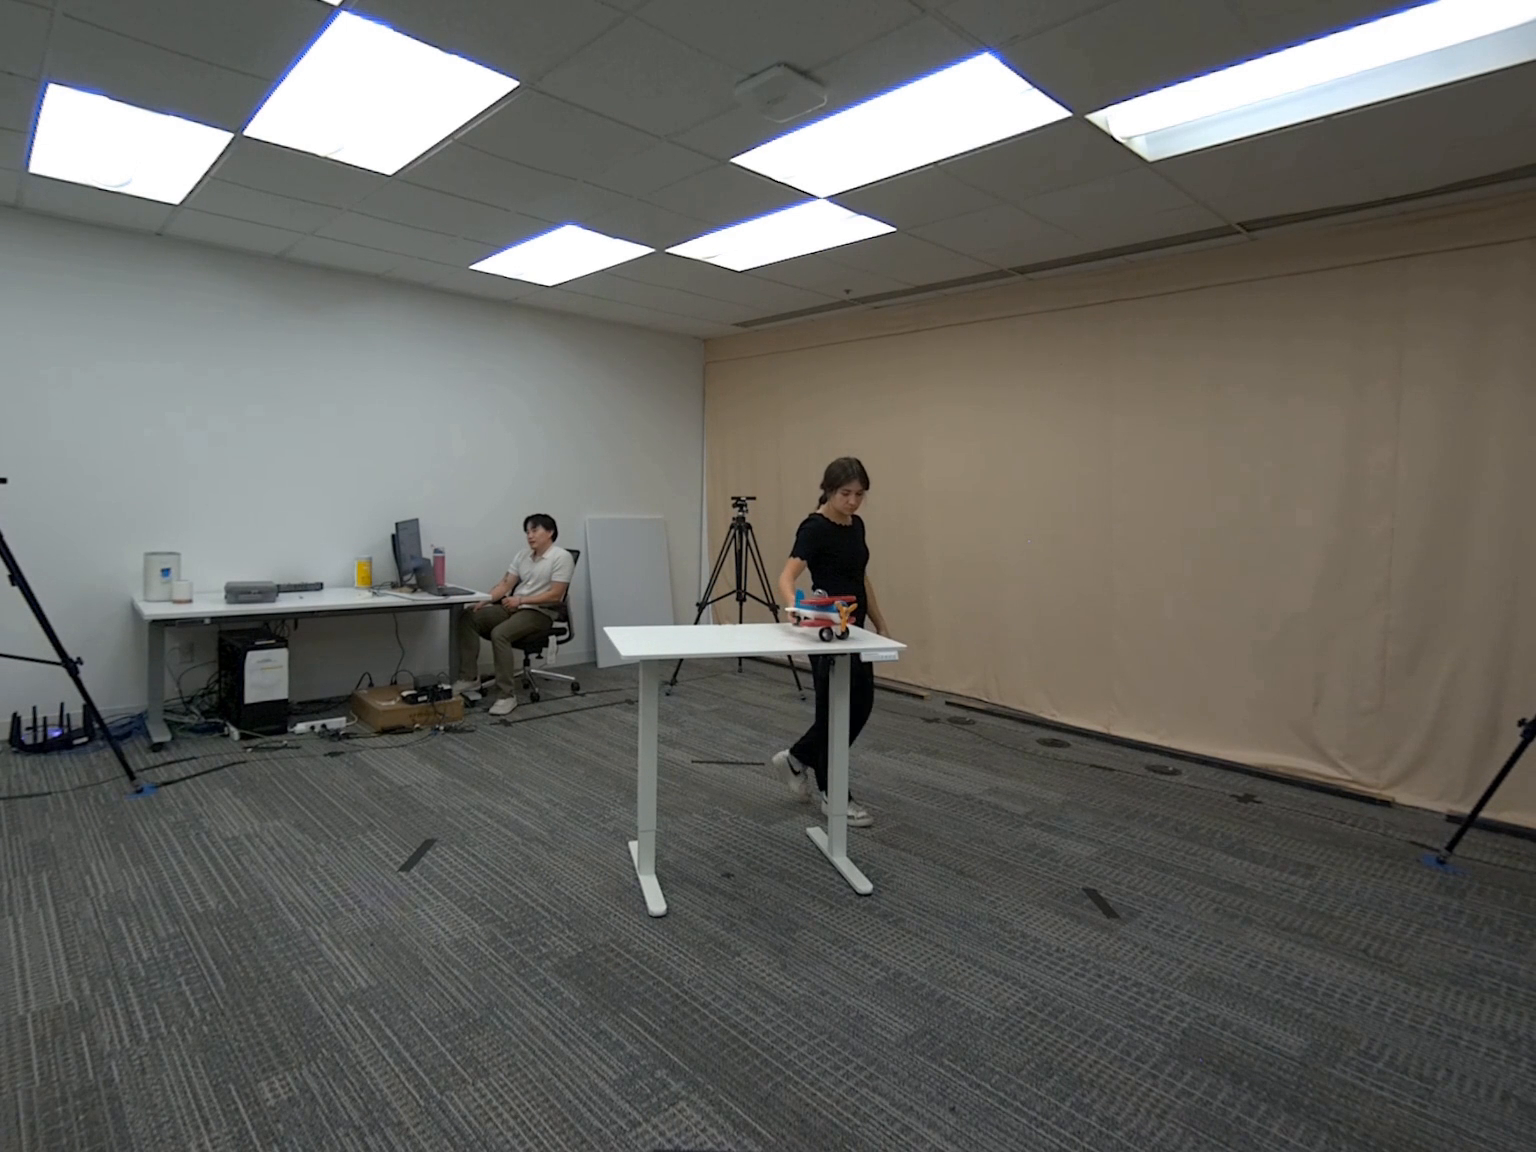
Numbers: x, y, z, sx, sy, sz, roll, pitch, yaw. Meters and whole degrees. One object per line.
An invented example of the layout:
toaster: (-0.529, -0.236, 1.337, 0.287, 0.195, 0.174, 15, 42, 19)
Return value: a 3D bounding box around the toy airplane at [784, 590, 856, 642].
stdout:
toy airplane: (0.174, 0.138, 3.087, 0.263, 0.155, 0.249, 14, 14, 18)
